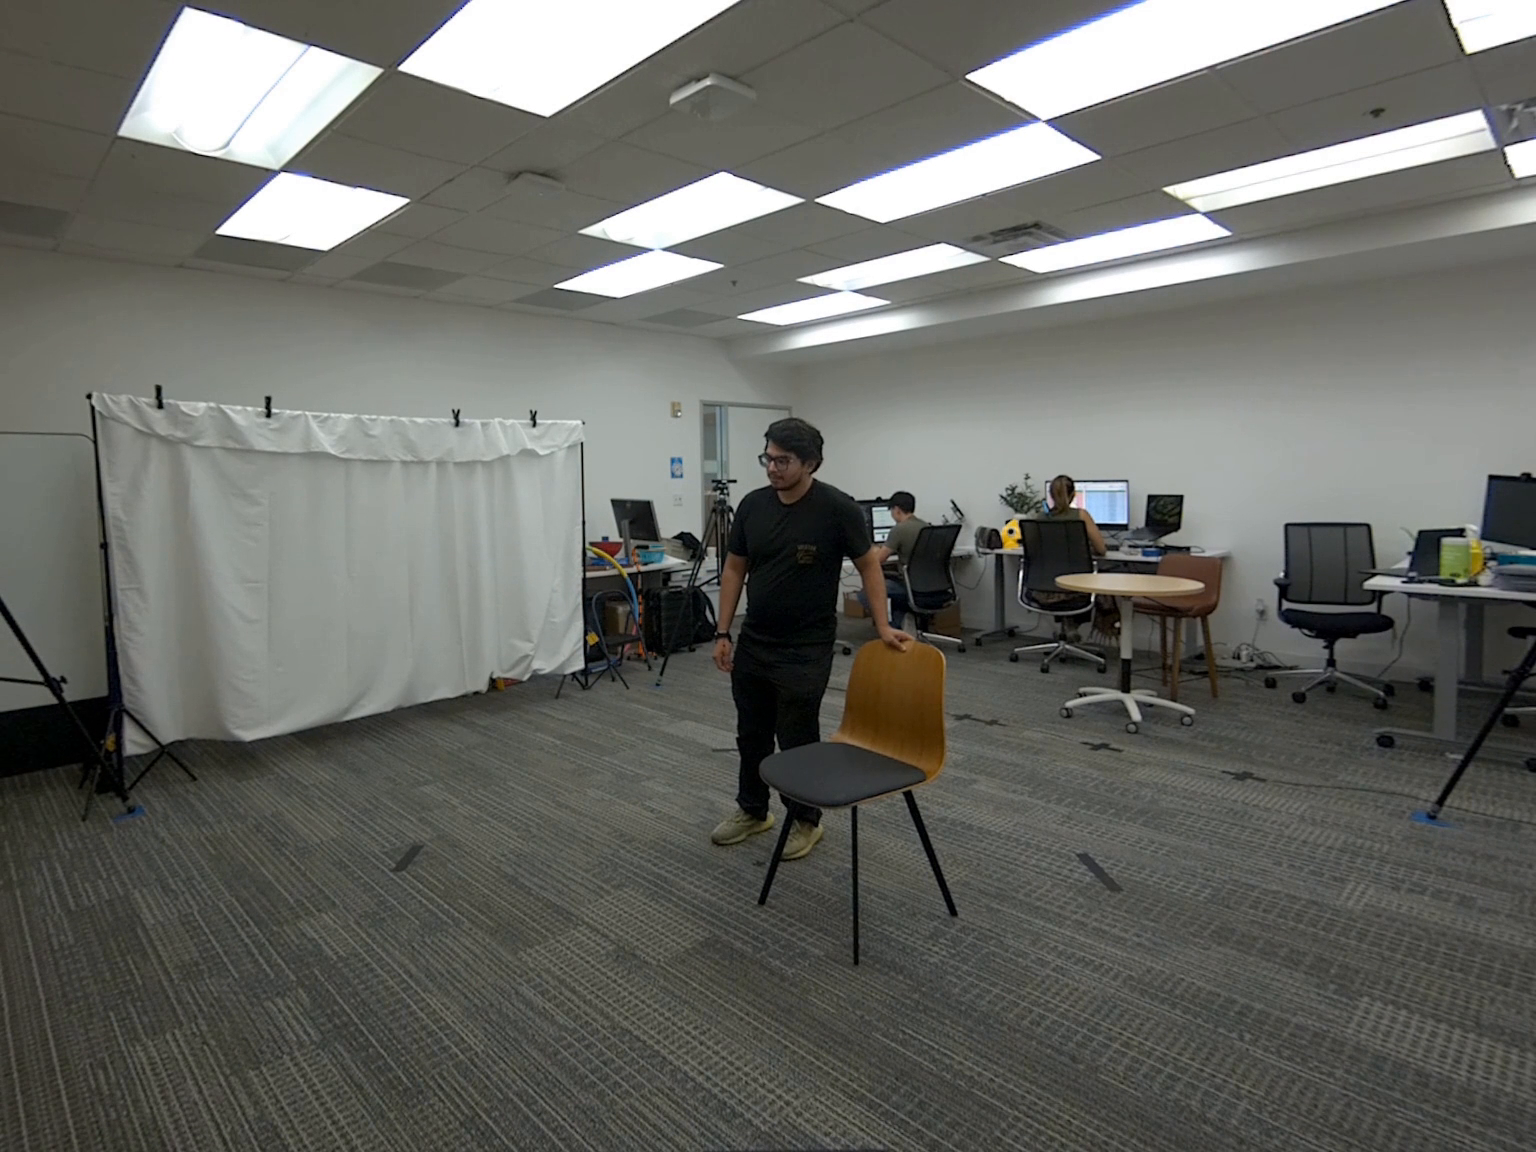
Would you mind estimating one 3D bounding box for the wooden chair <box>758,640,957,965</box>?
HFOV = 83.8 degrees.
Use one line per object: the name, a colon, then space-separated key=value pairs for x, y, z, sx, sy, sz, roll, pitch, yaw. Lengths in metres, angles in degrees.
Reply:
wooden chair: x=0.276 y=0.659 z=2.722 sx=0.508 sy=0.877 sz=0.492 roll=1 pitch=1 yaw=-38
